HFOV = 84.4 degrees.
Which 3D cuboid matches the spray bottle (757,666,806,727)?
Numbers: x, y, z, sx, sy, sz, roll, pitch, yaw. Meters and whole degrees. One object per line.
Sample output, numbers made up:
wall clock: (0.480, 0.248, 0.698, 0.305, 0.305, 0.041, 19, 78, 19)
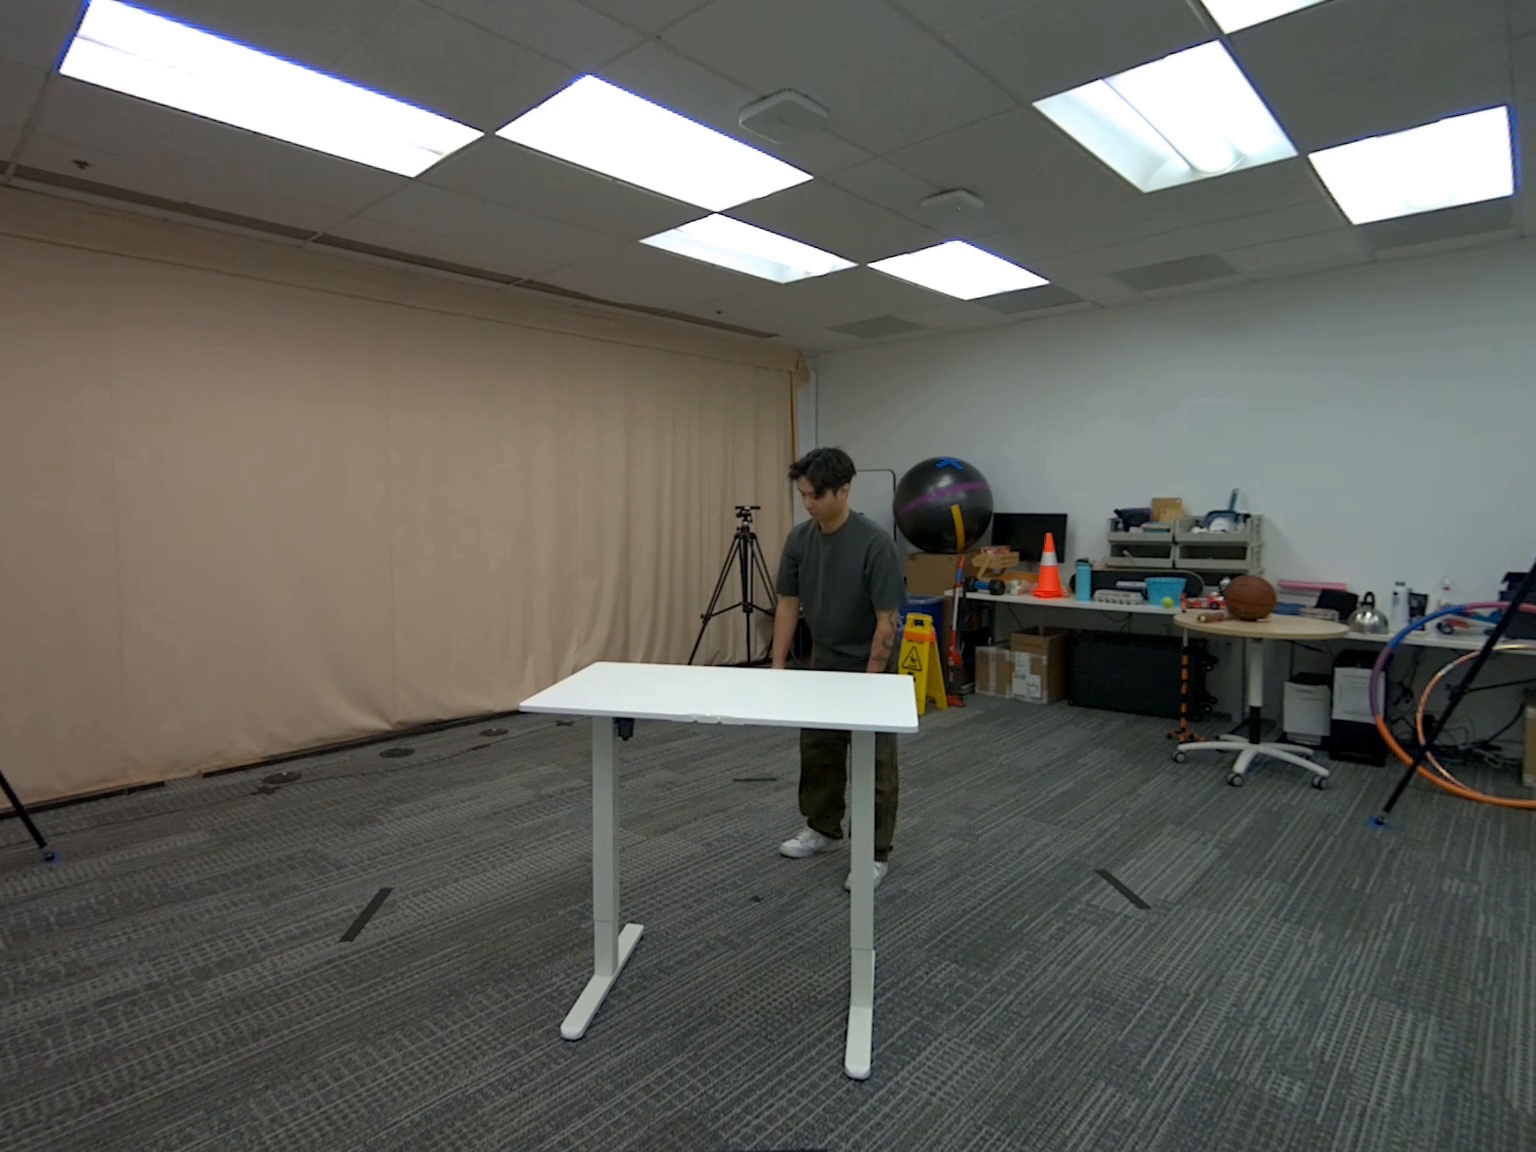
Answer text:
spray bottle: (0.054, 0.469, 3.328, 0.090, 0.089, 0.289, 37, -18, 34)
